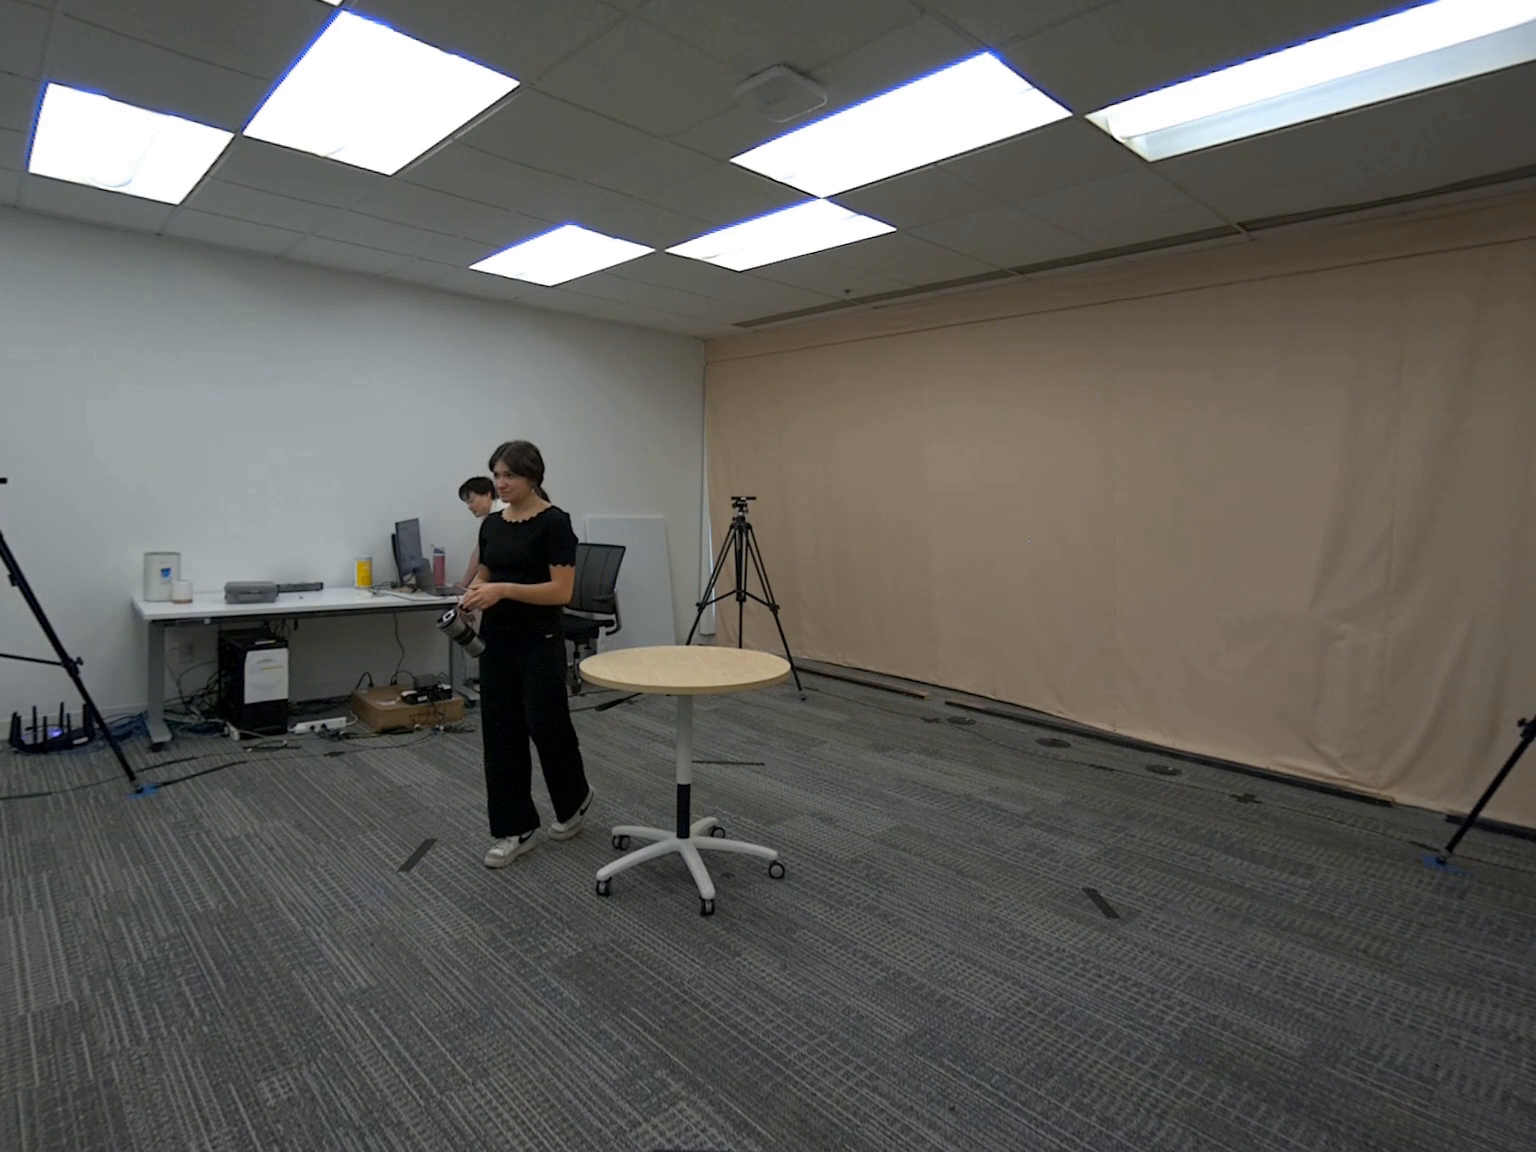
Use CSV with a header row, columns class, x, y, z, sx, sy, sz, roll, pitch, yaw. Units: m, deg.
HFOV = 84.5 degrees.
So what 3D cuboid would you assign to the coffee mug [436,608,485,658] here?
class,x,y,z,sx,sy,sz,roll,pitch,yaw
coffee mug,-1.099,0.205,3.035,0.122,0.197,0.090,-37,36,2
